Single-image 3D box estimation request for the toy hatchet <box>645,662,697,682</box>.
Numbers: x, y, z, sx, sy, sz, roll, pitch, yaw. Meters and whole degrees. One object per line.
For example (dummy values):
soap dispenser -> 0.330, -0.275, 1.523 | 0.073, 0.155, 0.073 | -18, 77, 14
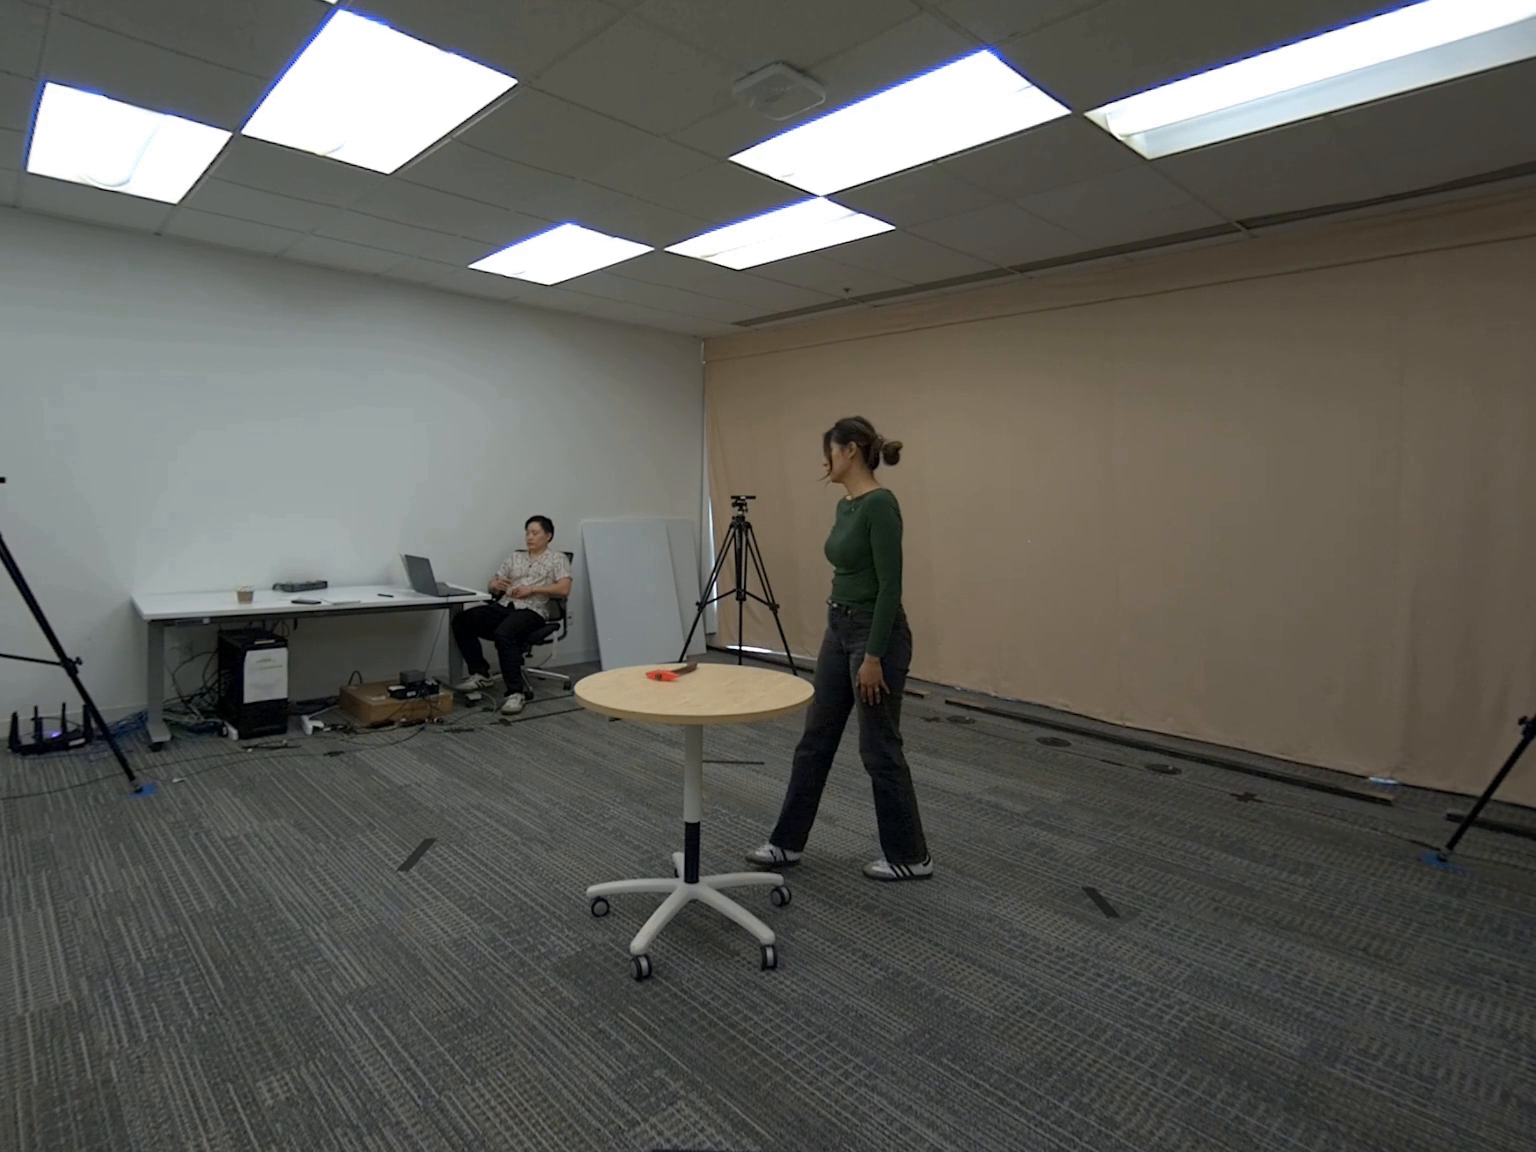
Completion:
toy hatchet -> -0.342, 0.328, 2.887 | 0.132, 0.029, 0.268 | -2, 3, 9
